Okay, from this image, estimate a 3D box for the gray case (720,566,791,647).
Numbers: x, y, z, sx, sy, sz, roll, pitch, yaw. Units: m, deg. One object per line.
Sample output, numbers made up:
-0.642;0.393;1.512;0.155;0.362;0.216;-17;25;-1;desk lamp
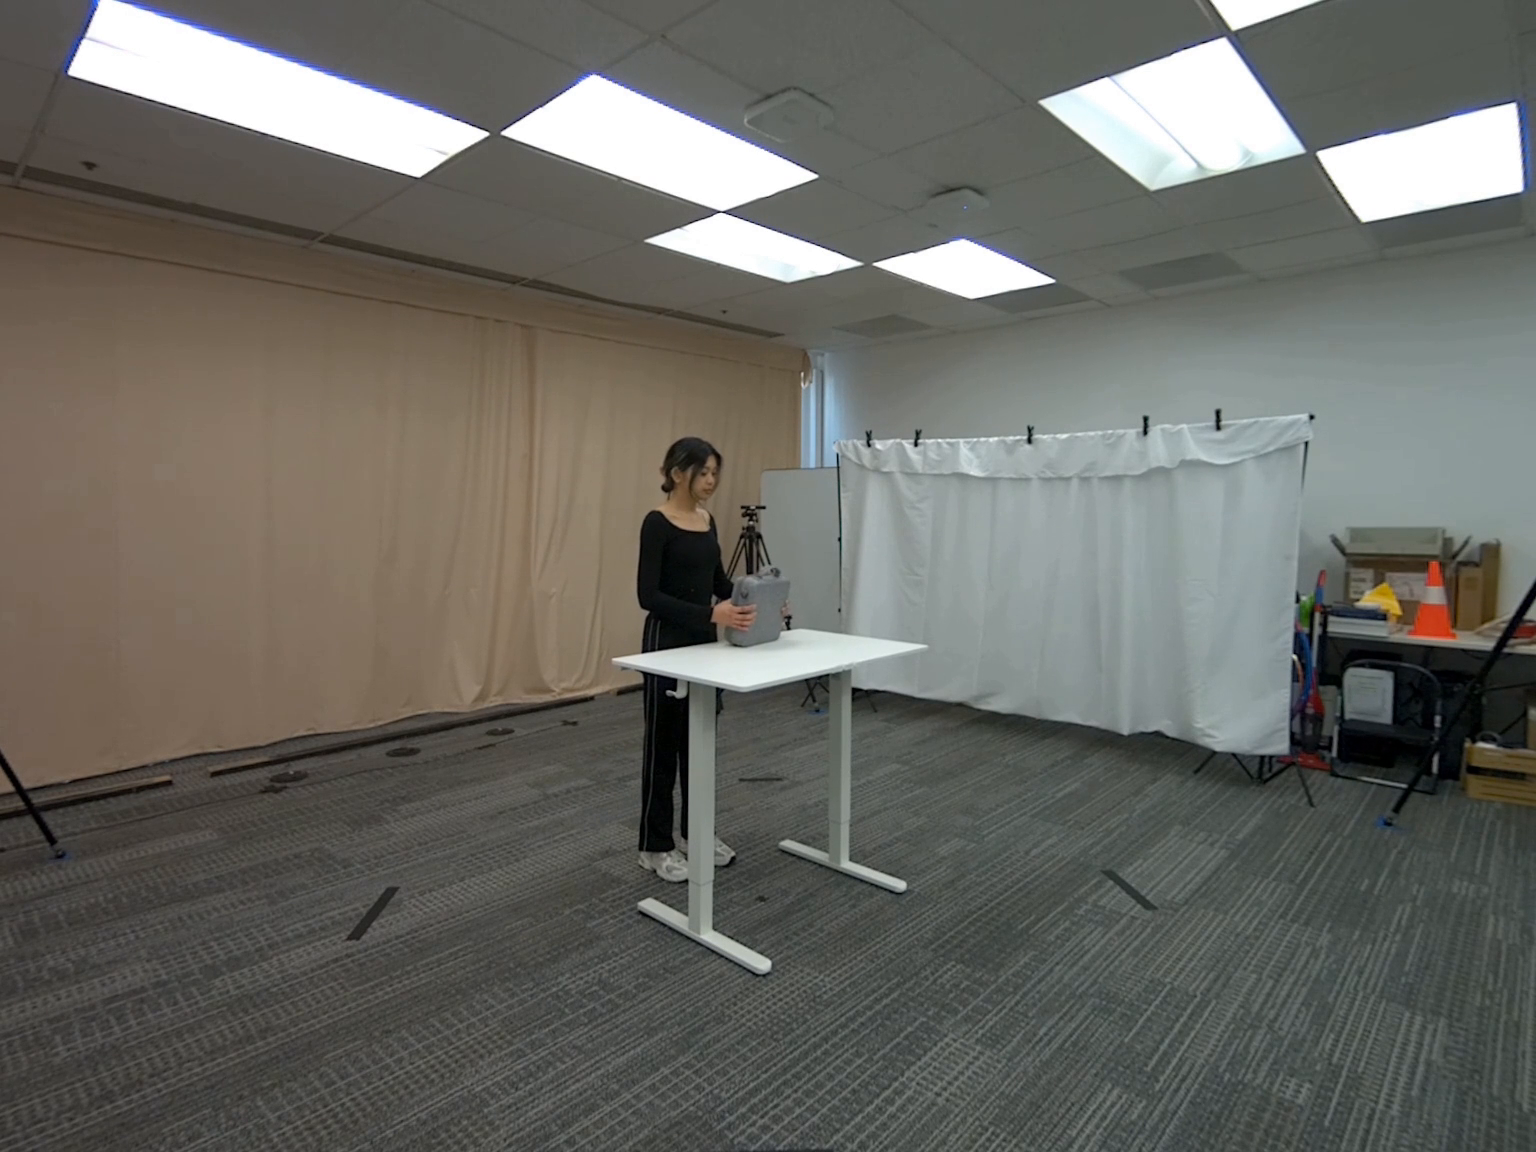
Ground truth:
-0.031;0.119;3.103;0.108;0.259;0.249;18;14;35;gray case
